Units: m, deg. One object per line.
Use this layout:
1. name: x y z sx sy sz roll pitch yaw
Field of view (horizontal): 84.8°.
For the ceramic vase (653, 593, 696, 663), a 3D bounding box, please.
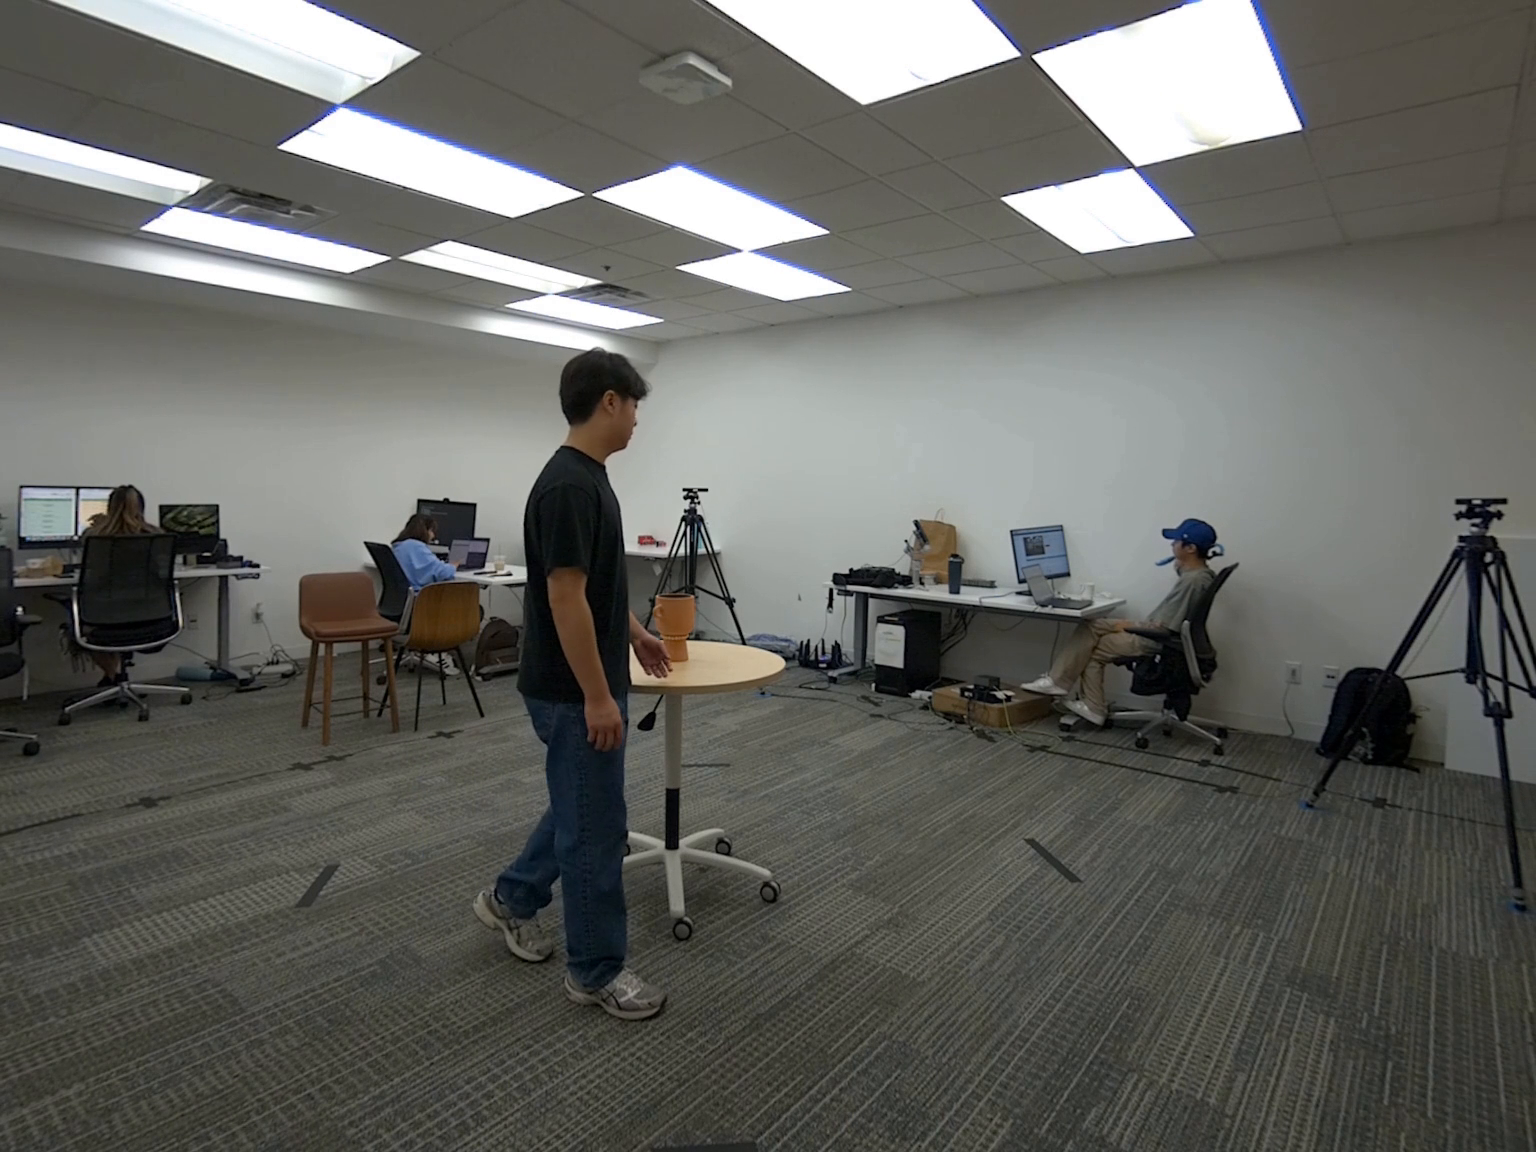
1. ceramic vase: -0.334 0.180 2.945 0.157 0.219 0.136 0 3 -9
